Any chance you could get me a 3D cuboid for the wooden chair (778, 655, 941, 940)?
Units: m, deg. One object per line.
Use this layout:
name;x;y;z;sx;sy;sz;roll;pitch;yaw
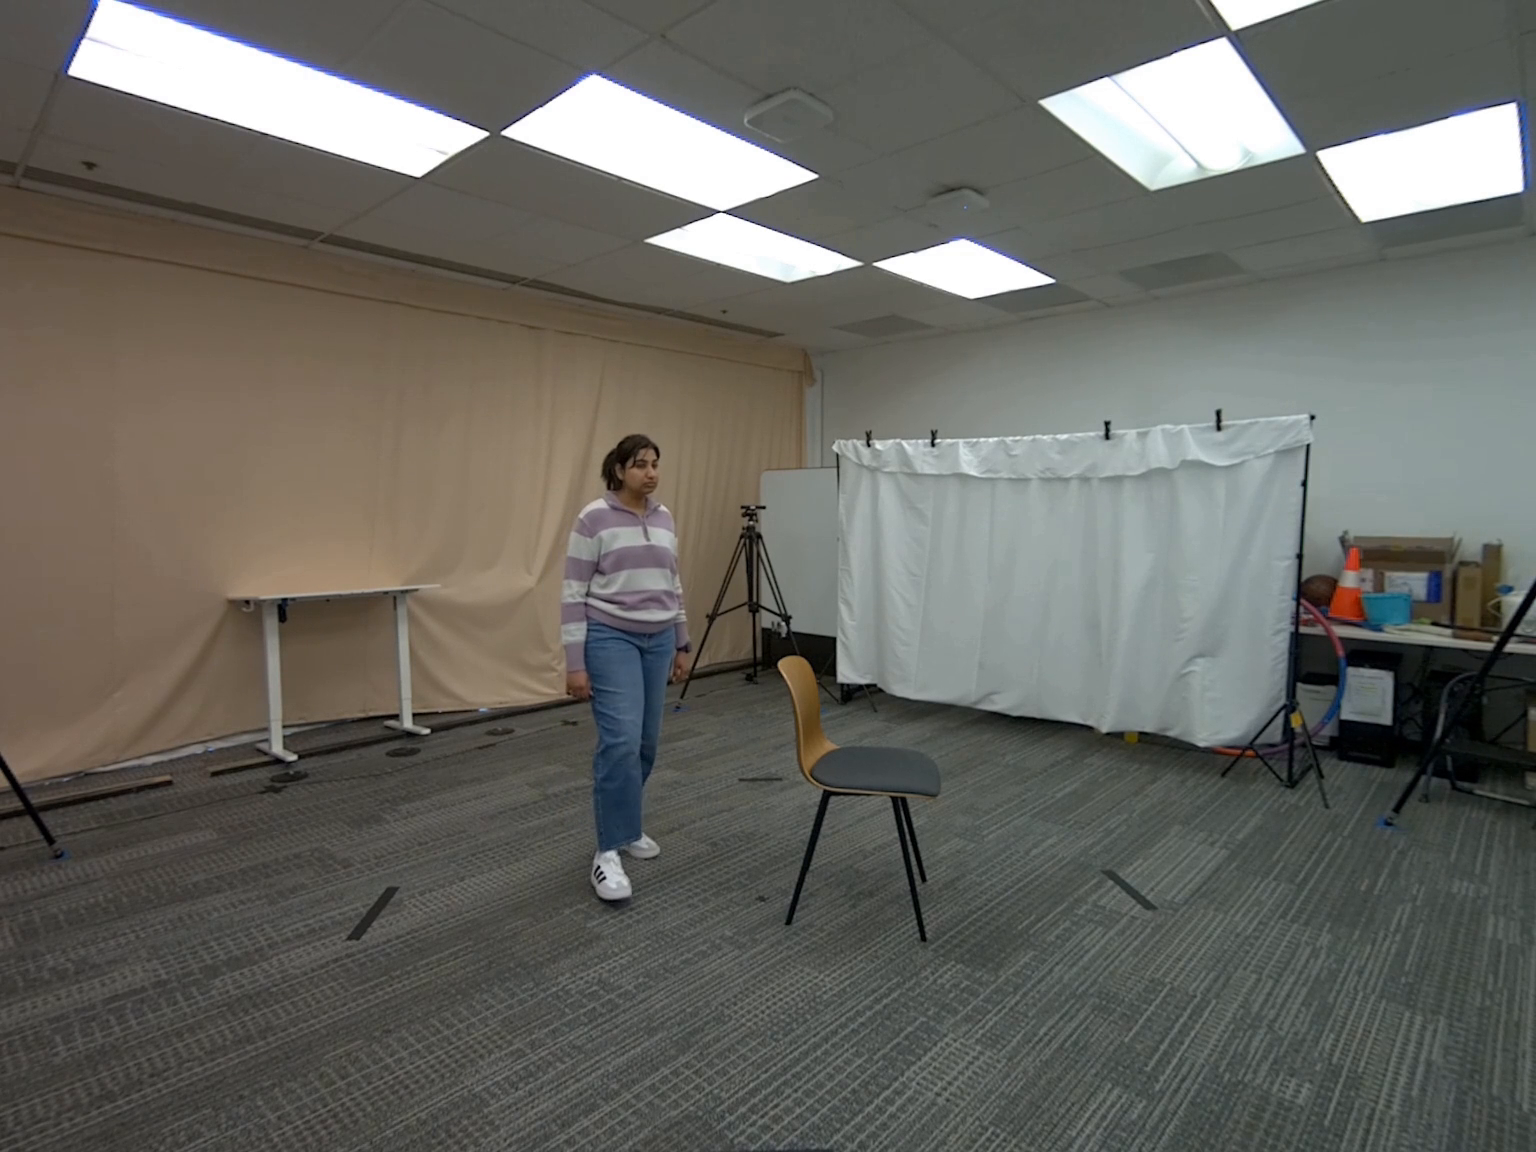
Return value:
wooden chair;0.331;0.720;2.919;0.531;0.876;0.472;-3;2;13
